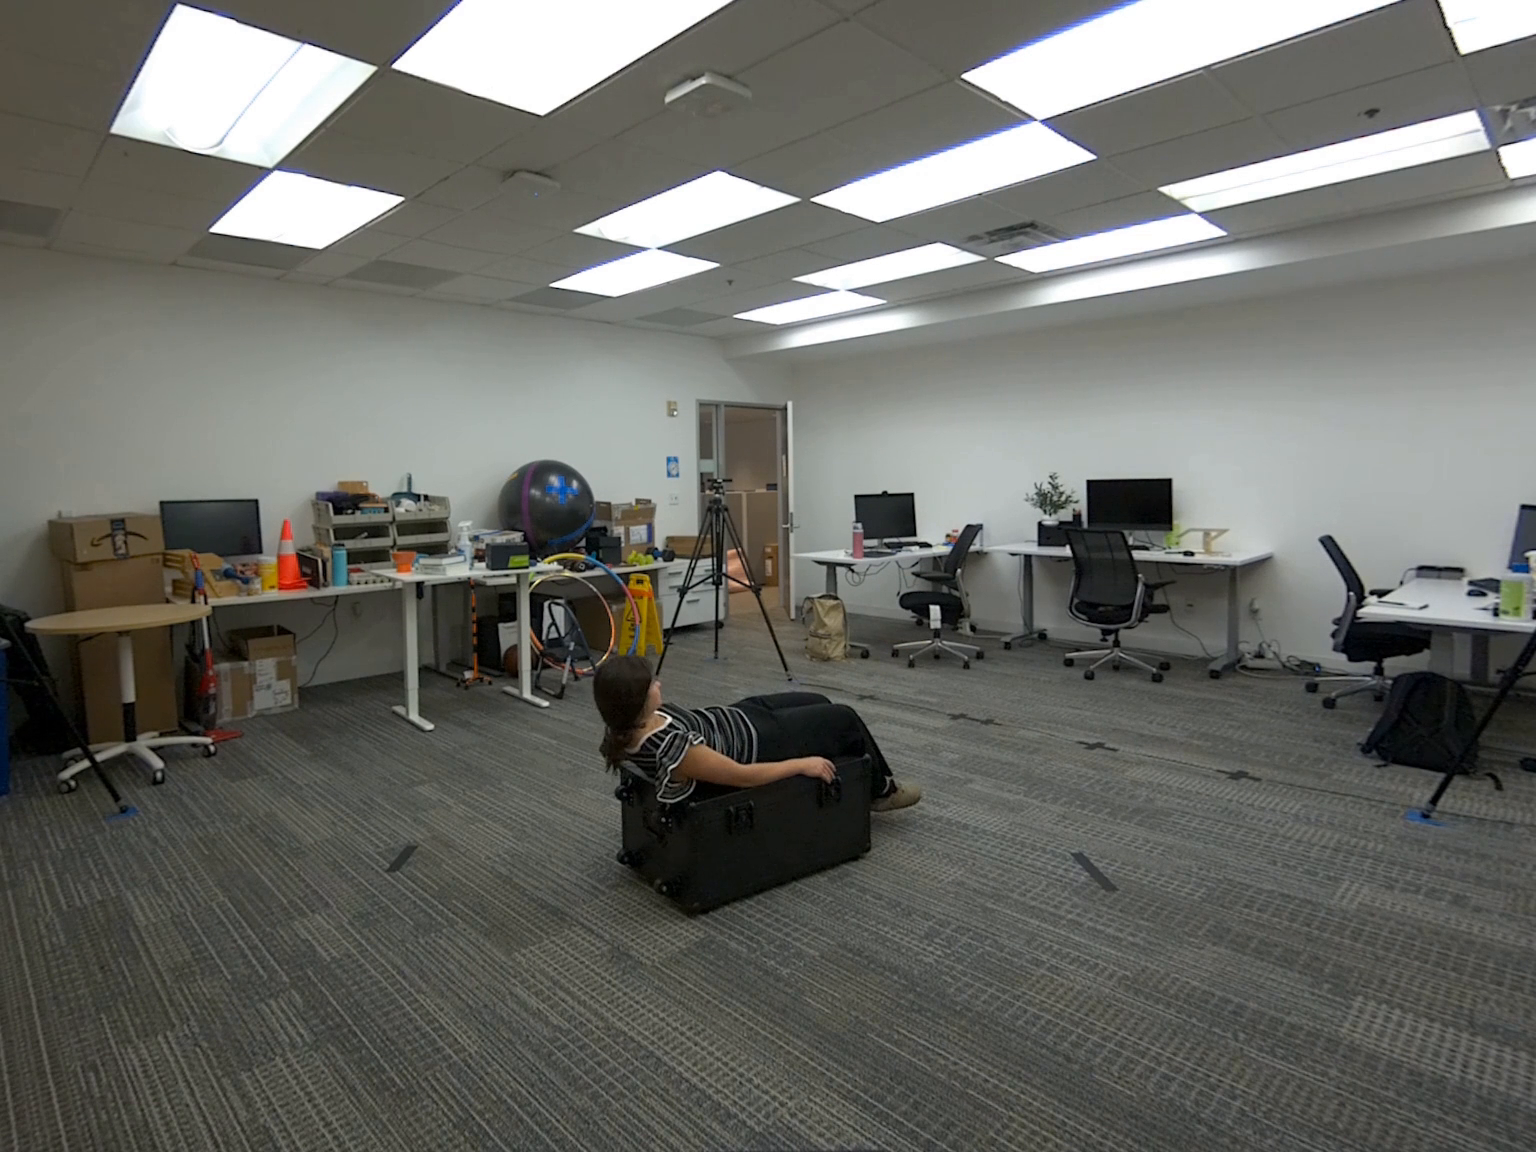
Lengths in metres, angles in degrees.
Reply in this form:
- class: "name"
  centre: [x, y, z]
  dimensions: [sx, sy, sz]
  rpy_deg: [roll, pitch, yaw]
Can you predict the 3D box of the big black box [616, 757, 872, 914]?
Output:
- class: "big black box"
  centre: [-0.107, 0.865, 3.092]
  dimensions: [0.839, 0.394, 0.537]
  rpy_deg: [-4, 7, -35]
